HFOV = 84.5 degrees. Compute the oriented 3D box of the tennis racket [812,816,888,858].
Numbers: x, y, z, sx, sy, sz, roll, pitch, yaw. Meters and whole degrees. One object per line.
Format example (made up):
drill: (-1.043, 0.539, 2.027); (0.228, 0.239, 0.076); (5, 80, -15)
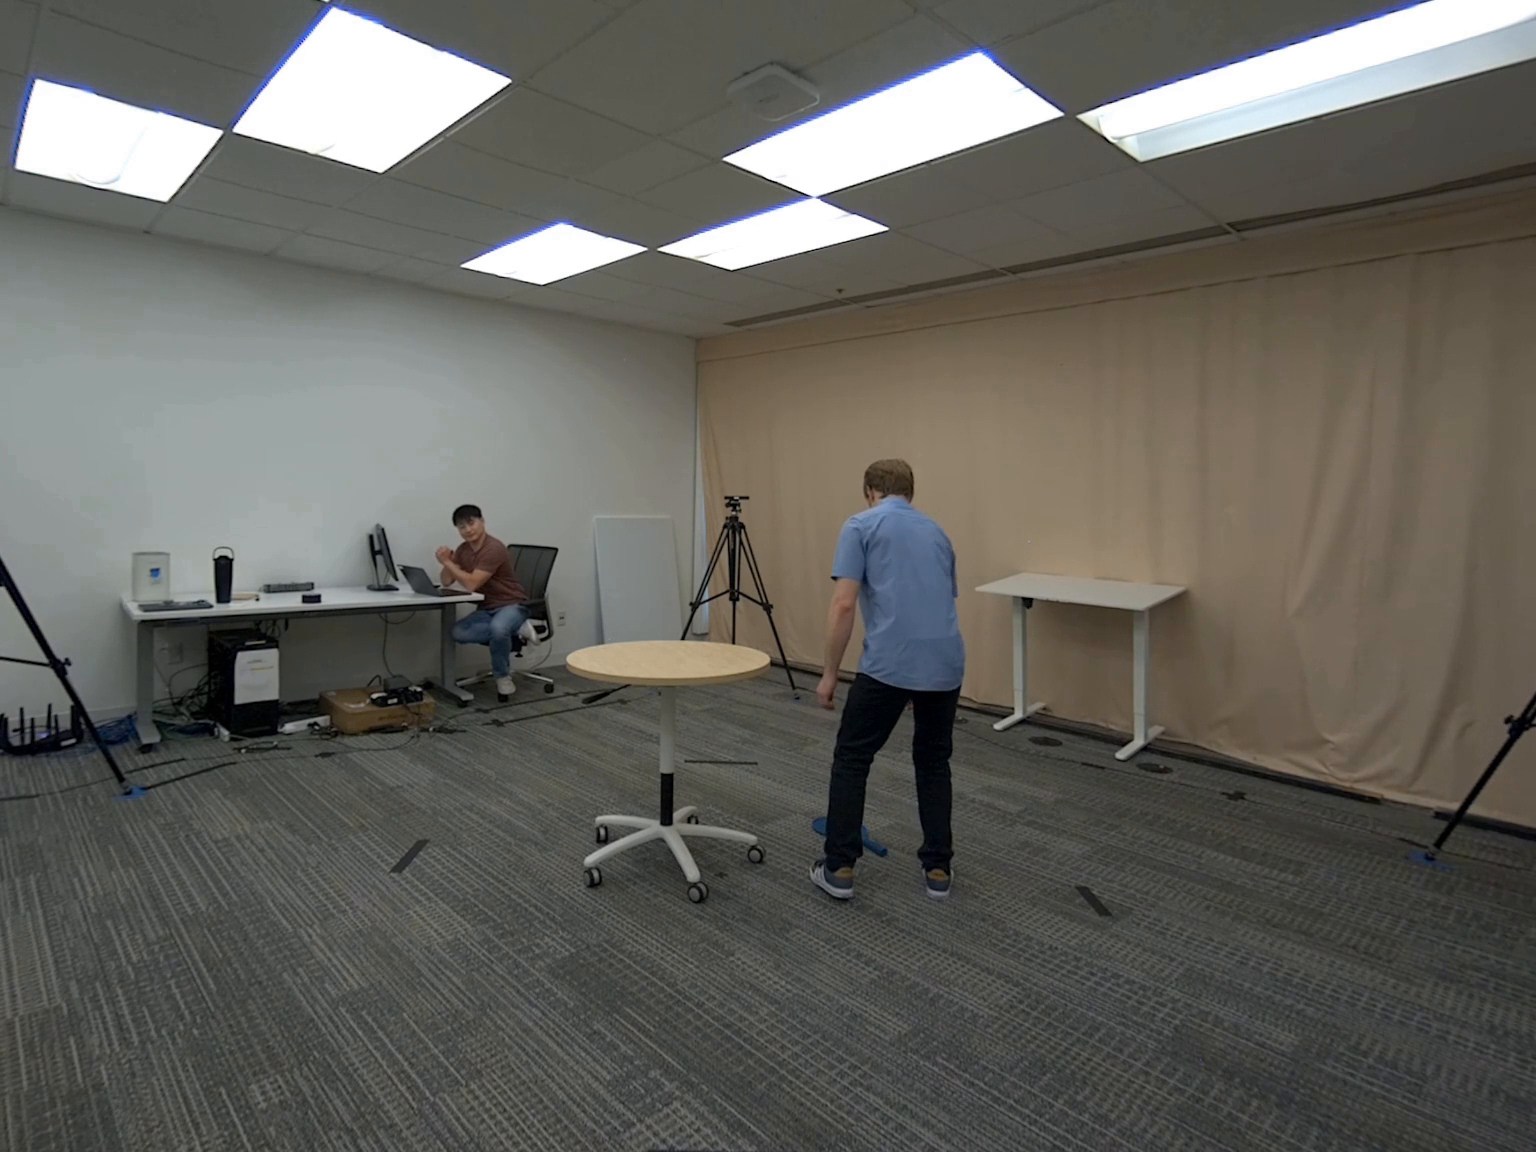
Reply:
tennis racket: (0.333, 1.070, 3.495); (0.209, 0.032, 0.443); (-1, 5, -31)
